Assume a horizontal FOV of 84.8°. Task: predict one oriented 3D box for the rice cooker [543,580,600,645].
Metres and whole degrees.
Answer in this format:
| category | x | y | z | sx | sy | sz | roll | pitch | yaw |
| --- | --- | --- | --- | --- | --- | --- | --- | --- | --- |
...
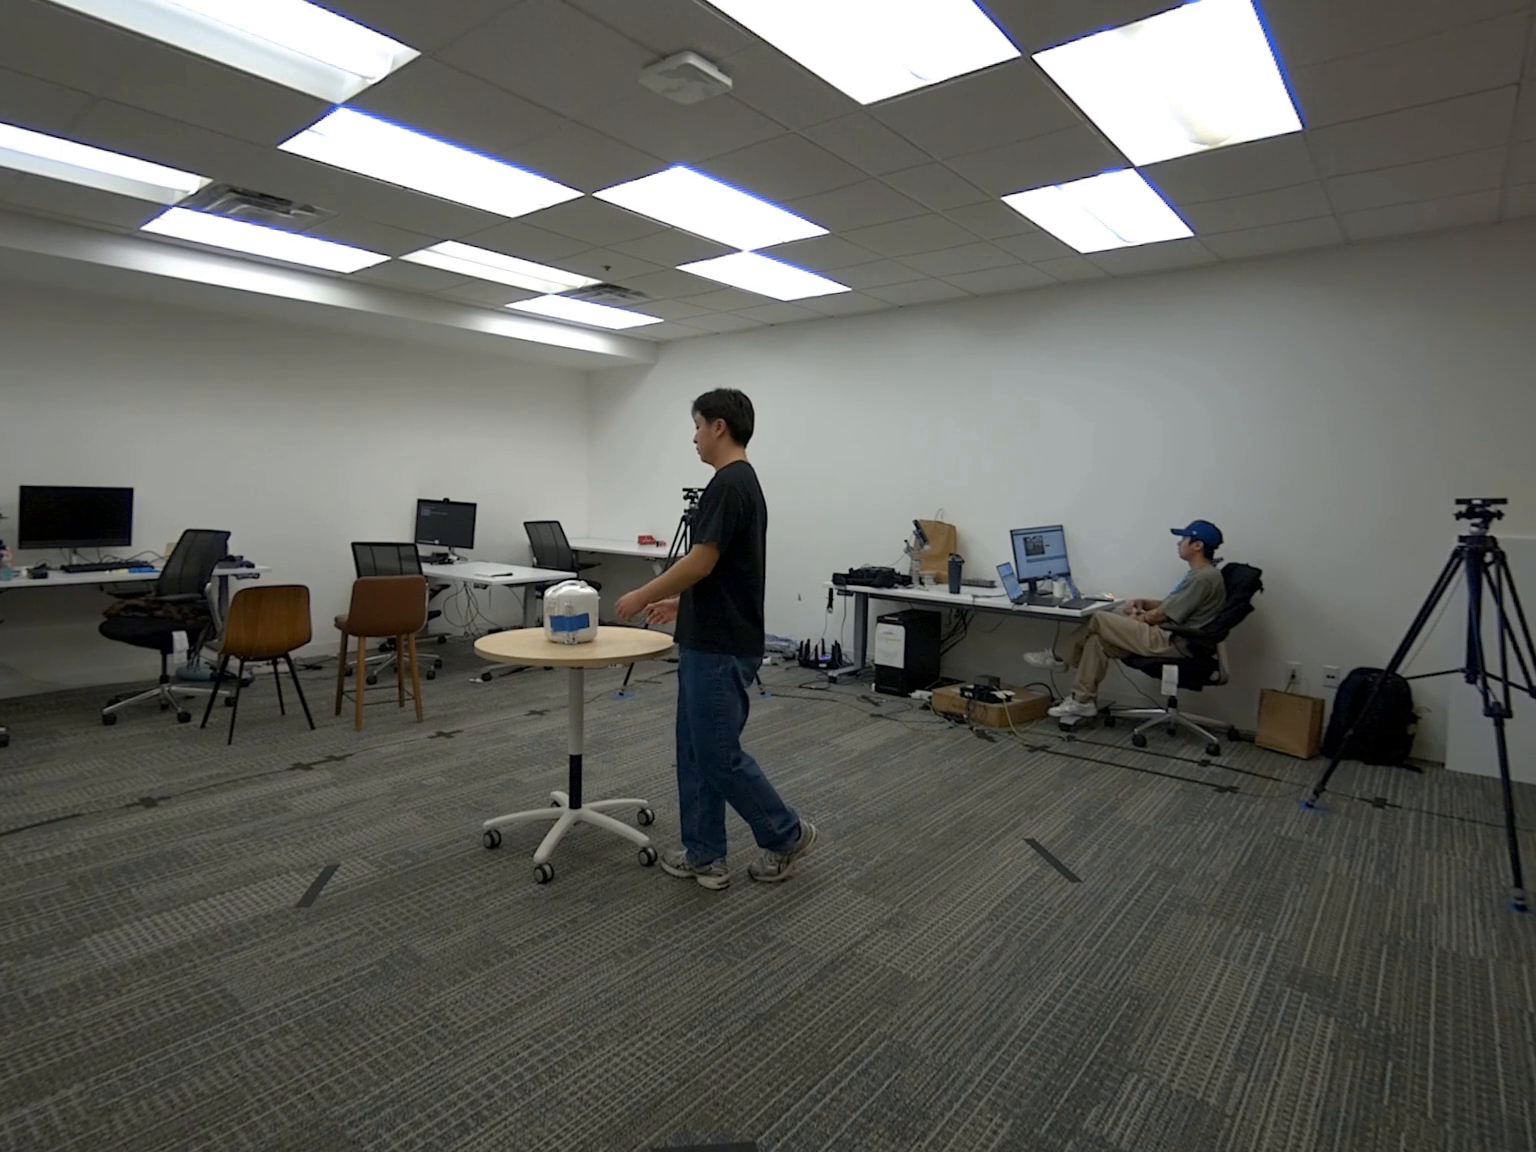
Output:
| category | x | y | z | sx | sy | sz | roll | pitch | yaw |
| --- | --- | --- | --- | --- | --- | --- | --- | --- | --- |
| rice cooker | -0.779 | 0.131 | 3.303 | 0.224 | 0.232 | 0.214 | 4 | 5 | 37 |
